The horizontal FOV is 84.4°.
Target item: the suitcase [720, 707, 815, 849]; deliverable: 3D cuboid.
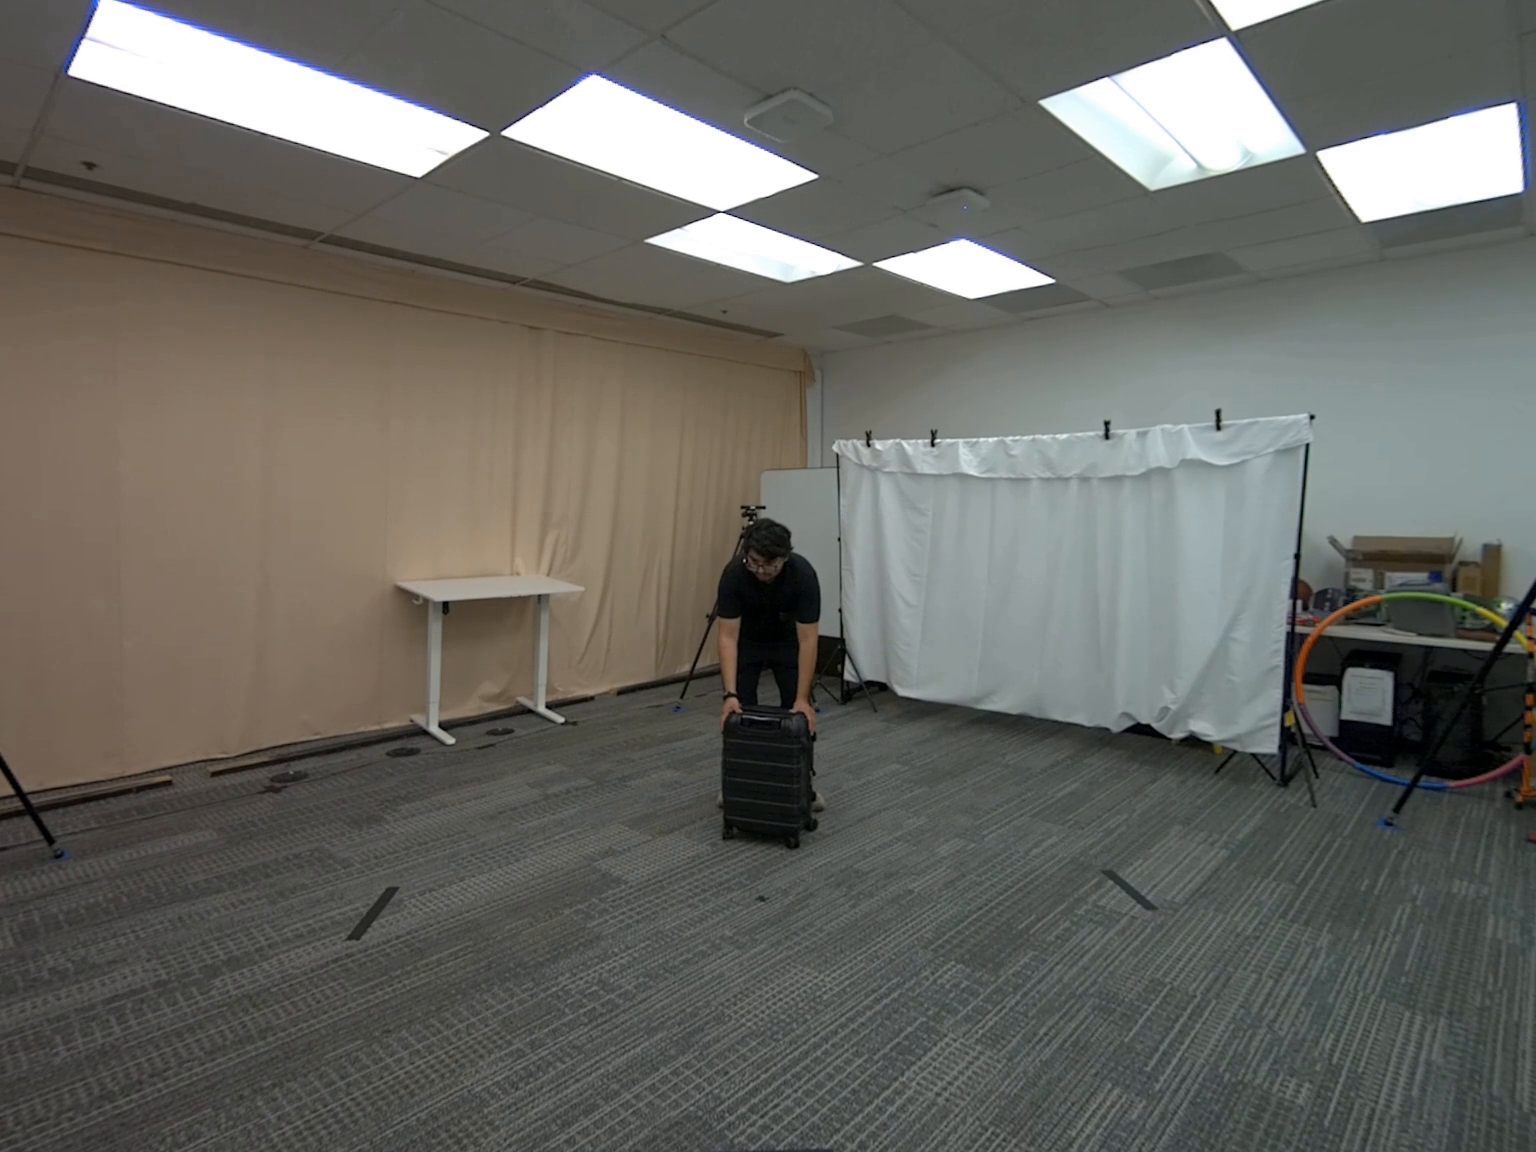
[{"bbox_3d":[0.000,0.815,3.549,0.384,0.548,0.243,1,4,21],"label":"suitcase"}]
